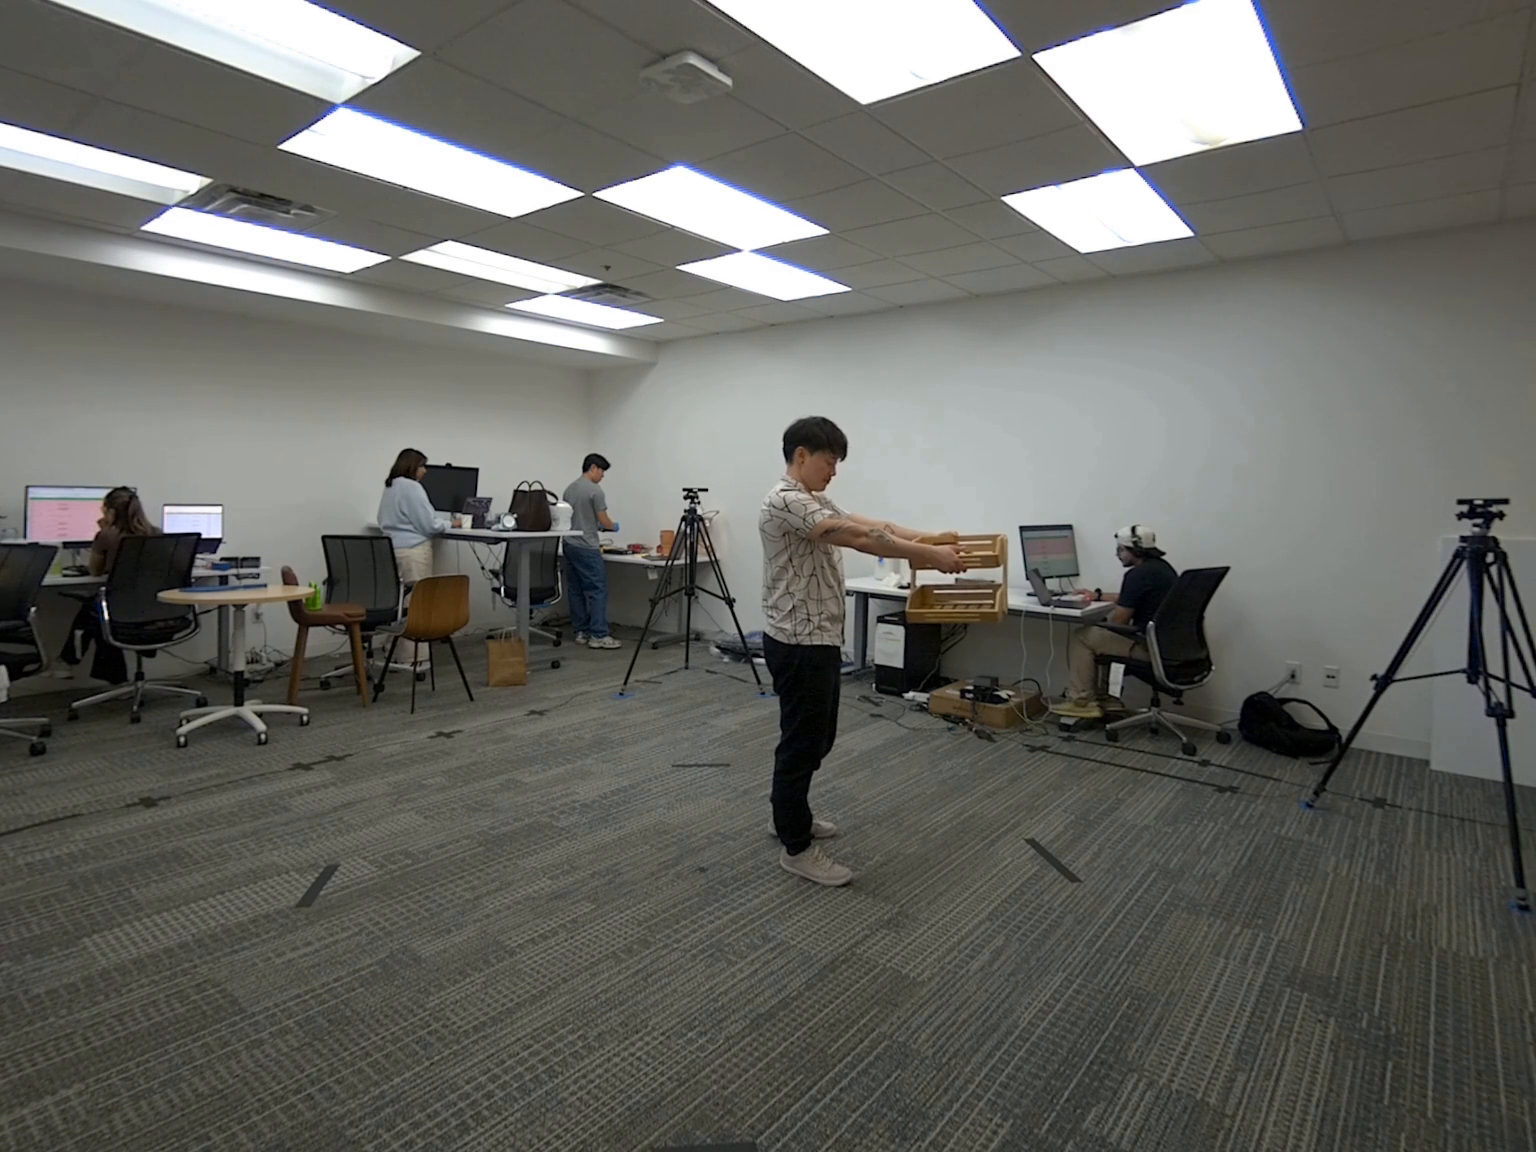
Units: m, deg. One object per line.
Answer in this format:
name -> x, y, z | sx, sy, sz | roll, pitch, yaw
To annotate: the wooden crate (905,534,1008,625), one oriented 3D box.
wooden crate -> 0.653, 0.002, 2.945 | 0.332, 0.271, 0.297 | -1, 8, 24
